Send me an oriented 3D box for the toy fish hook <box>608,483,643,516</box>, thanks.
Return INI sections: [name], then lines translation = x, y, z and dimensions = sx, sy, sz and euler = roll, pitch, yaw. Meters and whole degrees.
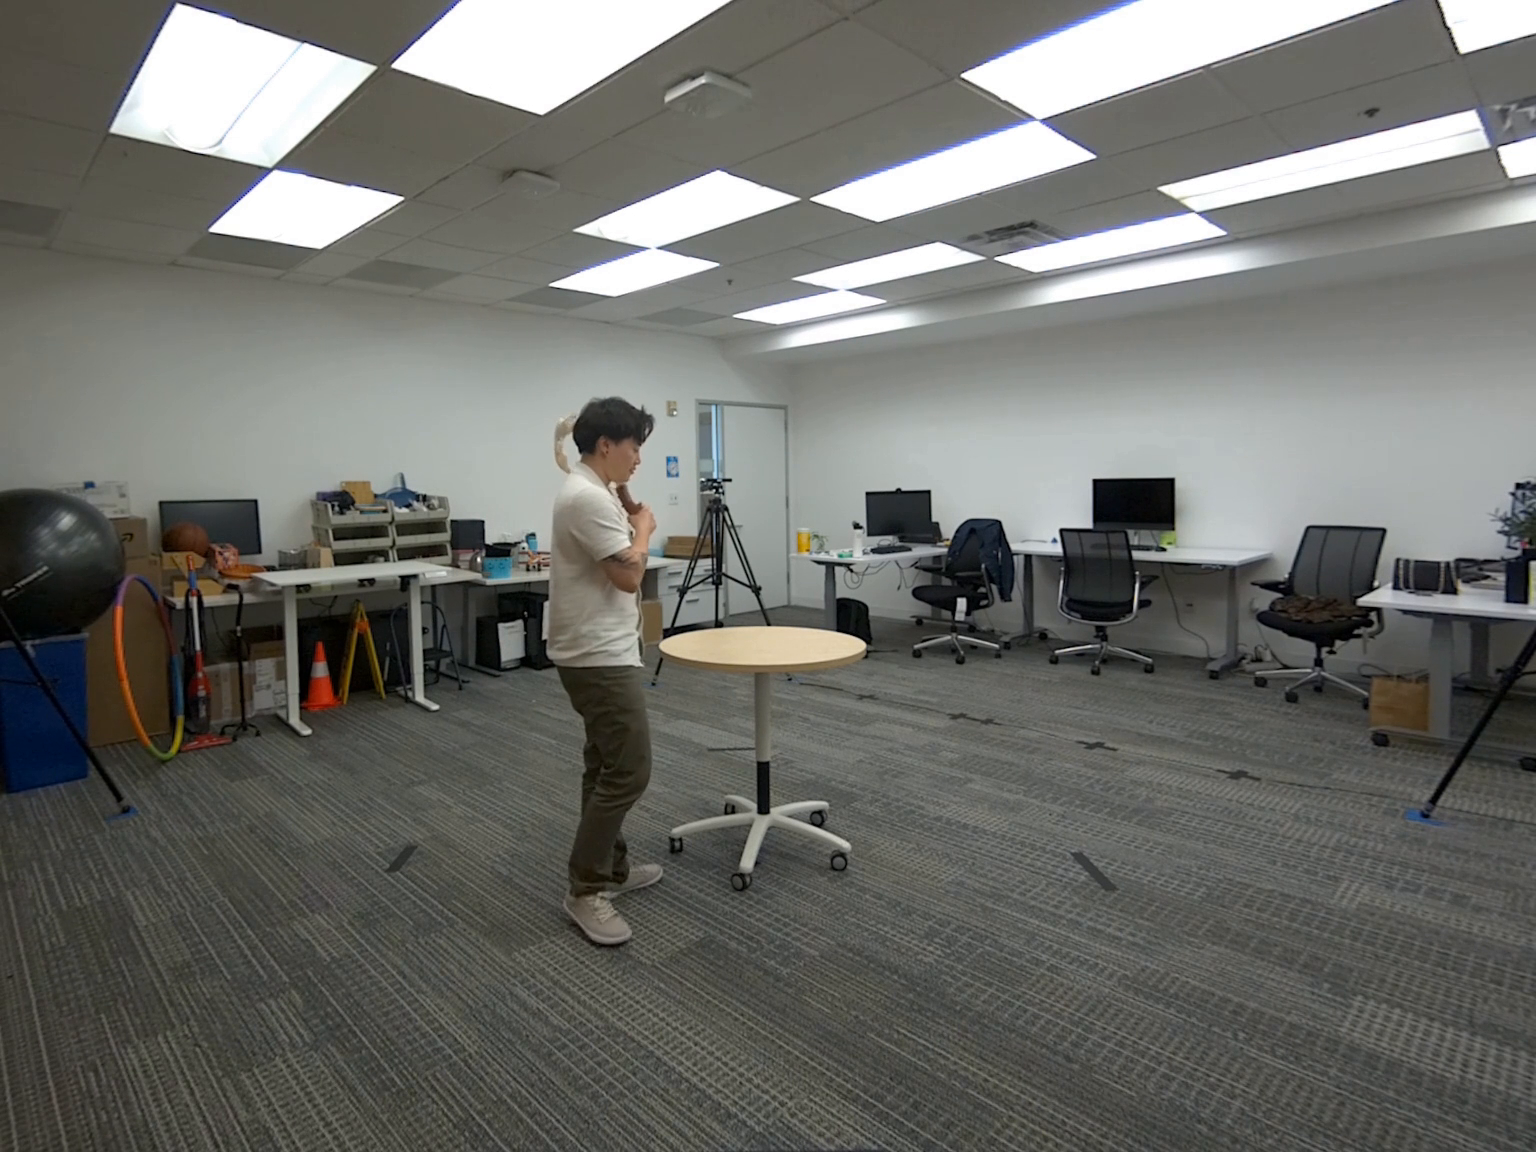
[toy fish hook]
translation = -0.554, -0.325, 2.913
dimensions = 0.223, 0.512, 0.048
euler = -24, -9, -10
